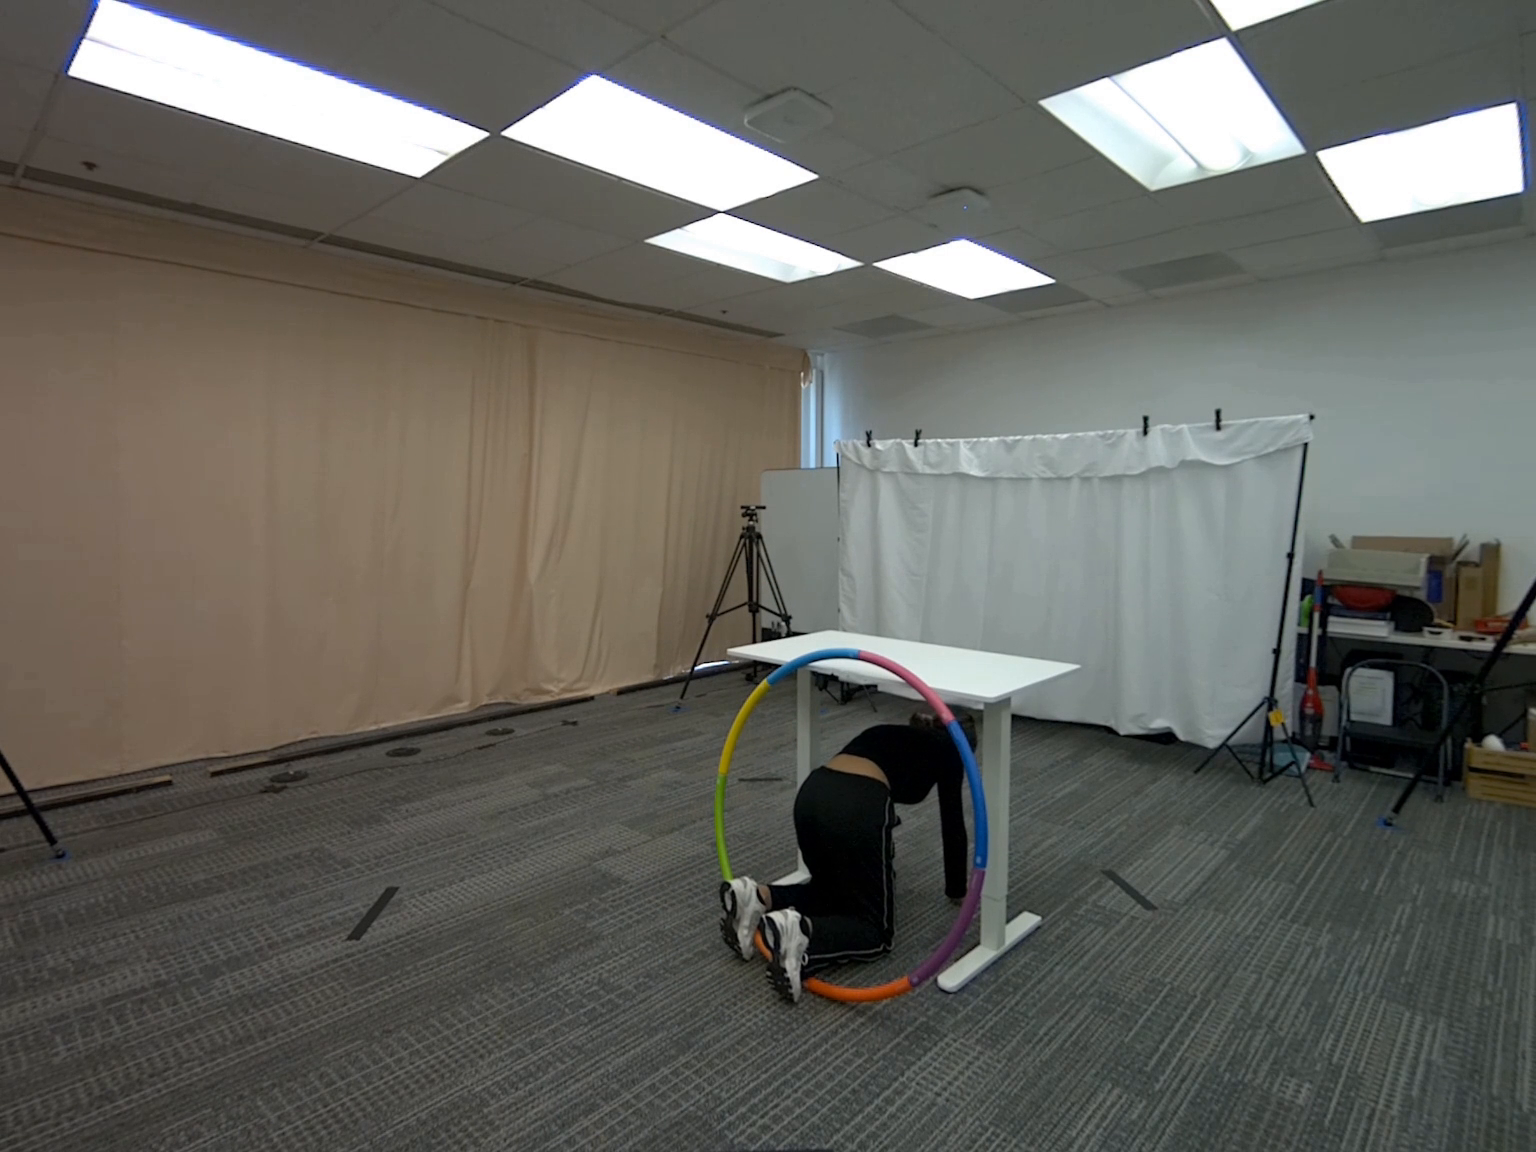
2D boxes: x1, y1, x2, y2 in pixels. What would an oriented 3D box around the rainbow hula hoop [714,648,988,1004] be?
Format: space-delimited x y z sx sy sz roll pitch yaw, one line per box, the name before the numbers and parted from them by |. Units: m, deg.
rainbow hula hoop | 0.196 0.715 2.497 1.011 0.981 0.034 4 -10 44
